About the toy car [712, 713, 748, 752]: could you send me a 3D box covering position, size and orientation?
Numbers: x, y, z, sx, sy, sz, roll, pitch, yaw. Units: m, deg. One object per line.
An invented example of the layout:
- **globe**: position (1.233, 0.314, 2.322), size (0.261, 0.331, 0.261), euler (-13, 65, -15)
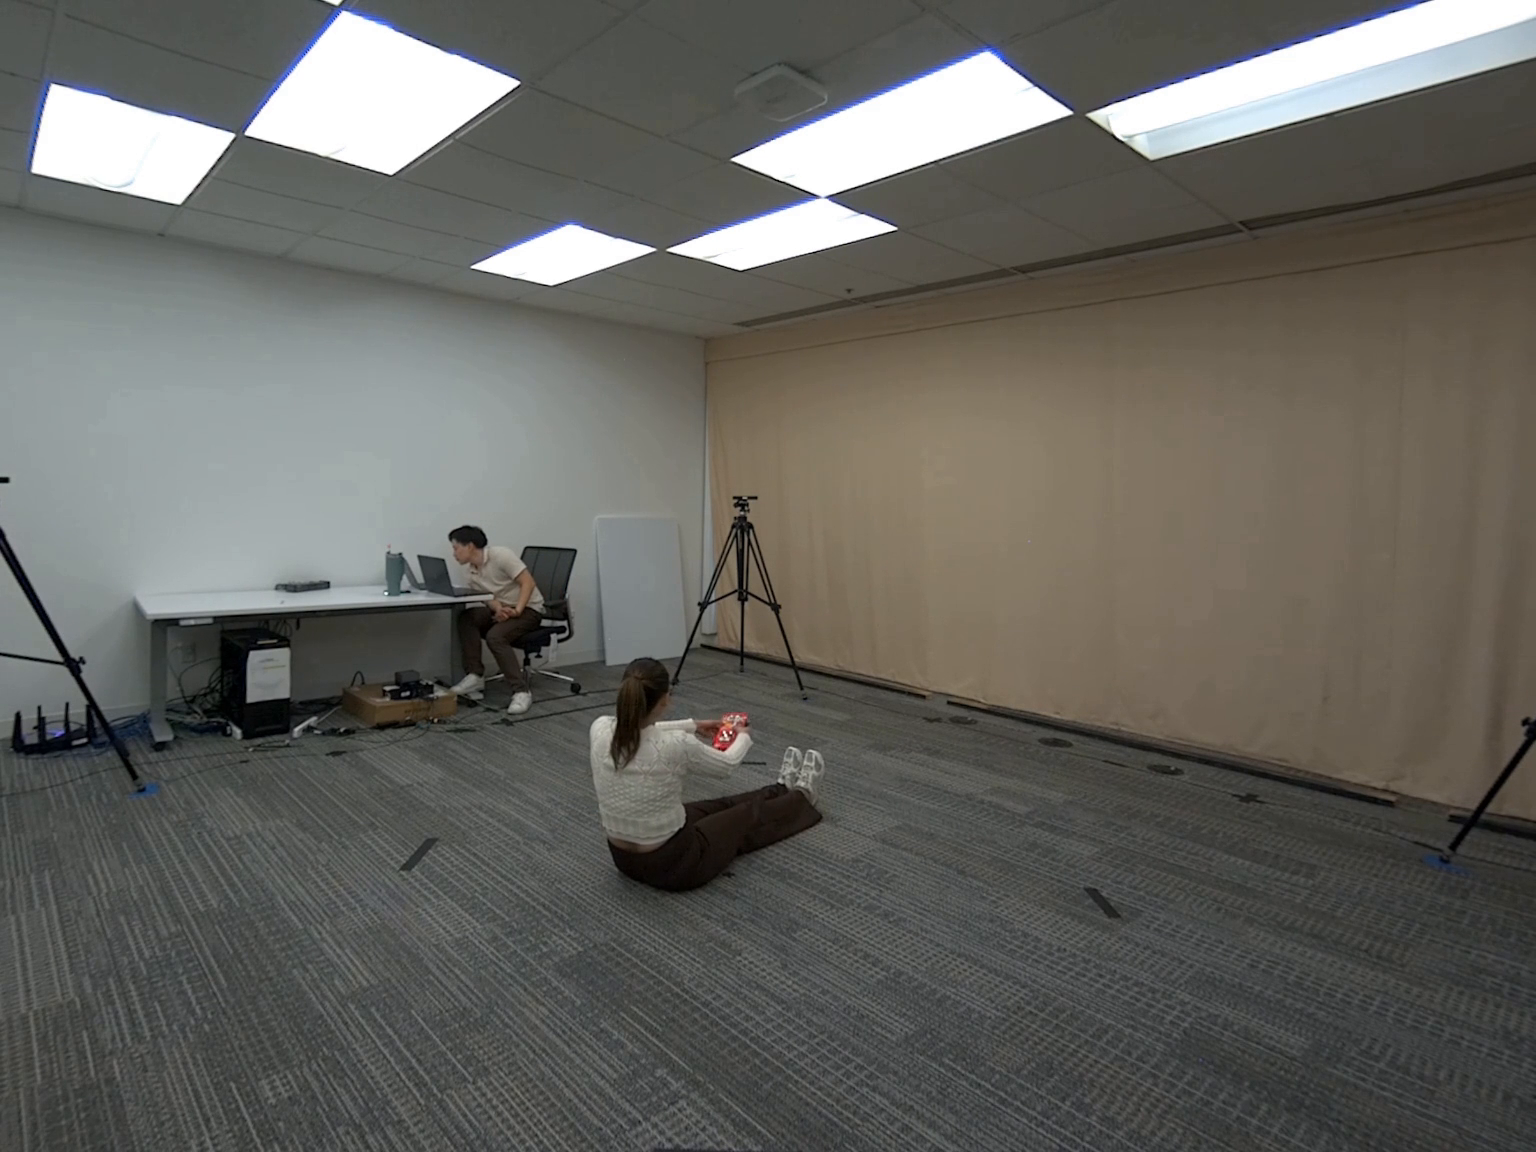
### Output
- **toy car**: position (-0.175, 0.661, 3.476), size (0.132, 0.082, 0.254), euler (1, 14, 16)
